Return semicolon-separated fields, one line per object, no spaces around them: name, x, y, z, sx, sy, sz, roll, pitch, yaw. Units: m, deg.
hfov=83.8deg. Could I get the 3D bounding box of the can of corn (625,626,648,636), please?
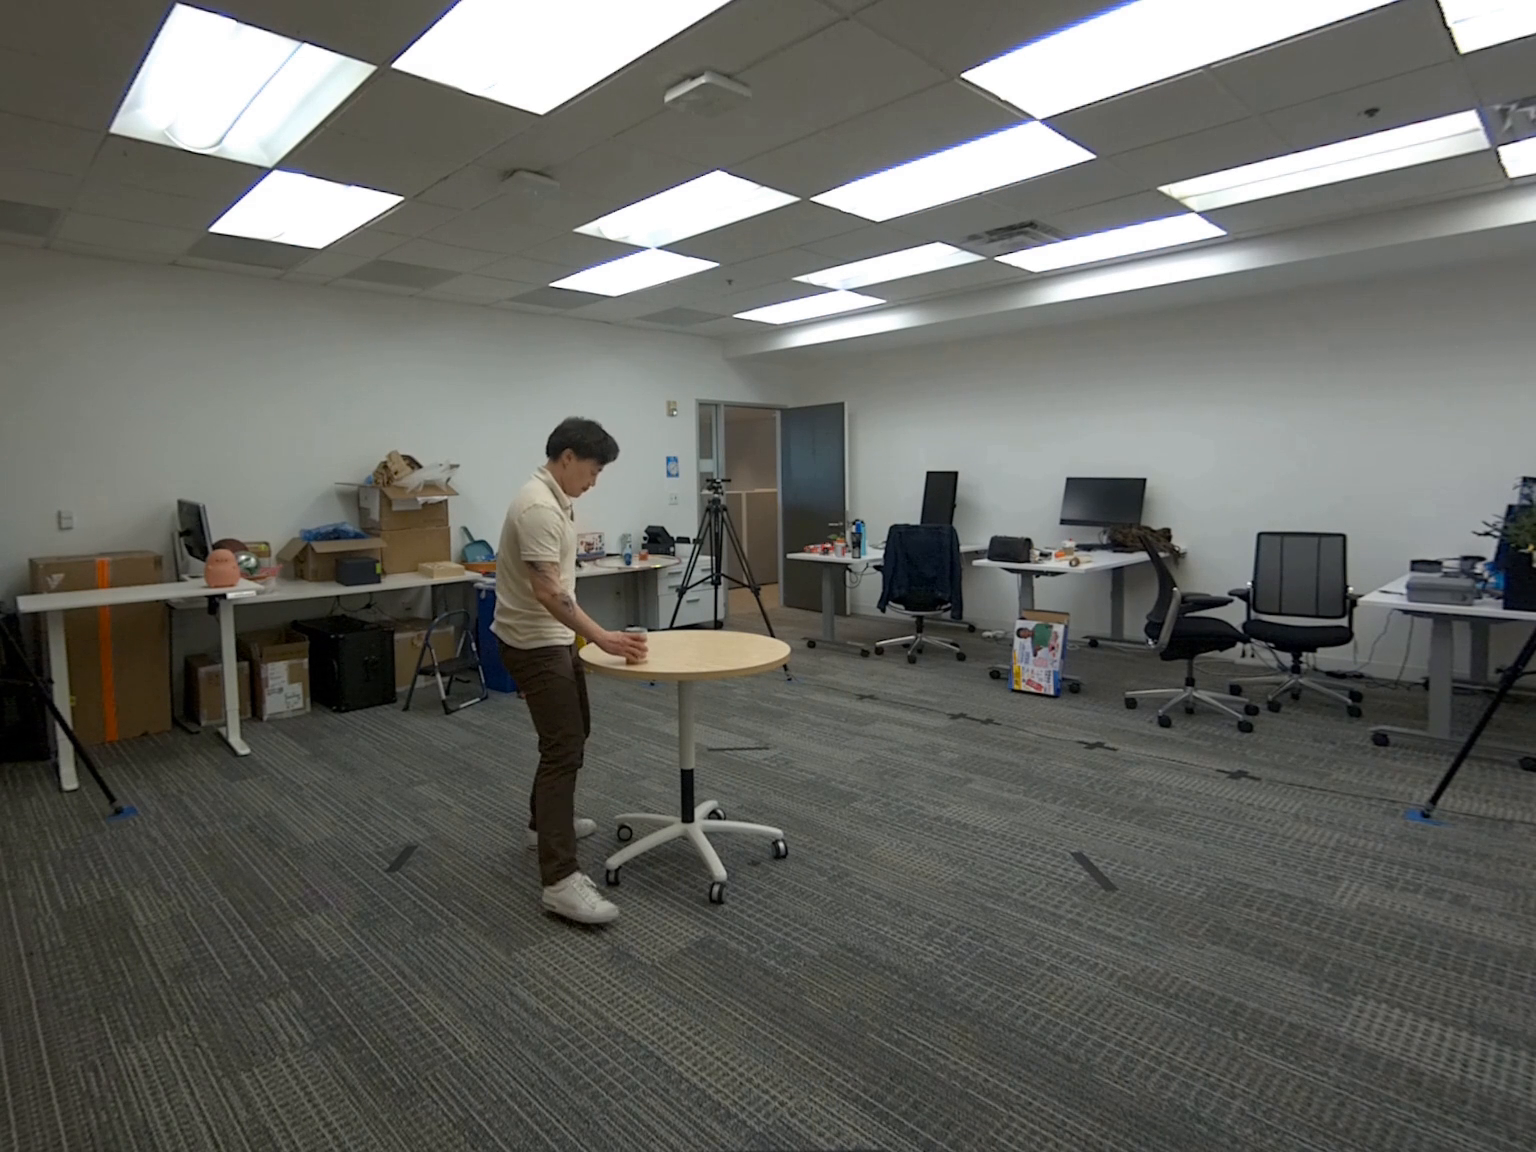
can of corn;-0.450;0.238;2.882;0.074;0.110;0.075;-3;7;-1
